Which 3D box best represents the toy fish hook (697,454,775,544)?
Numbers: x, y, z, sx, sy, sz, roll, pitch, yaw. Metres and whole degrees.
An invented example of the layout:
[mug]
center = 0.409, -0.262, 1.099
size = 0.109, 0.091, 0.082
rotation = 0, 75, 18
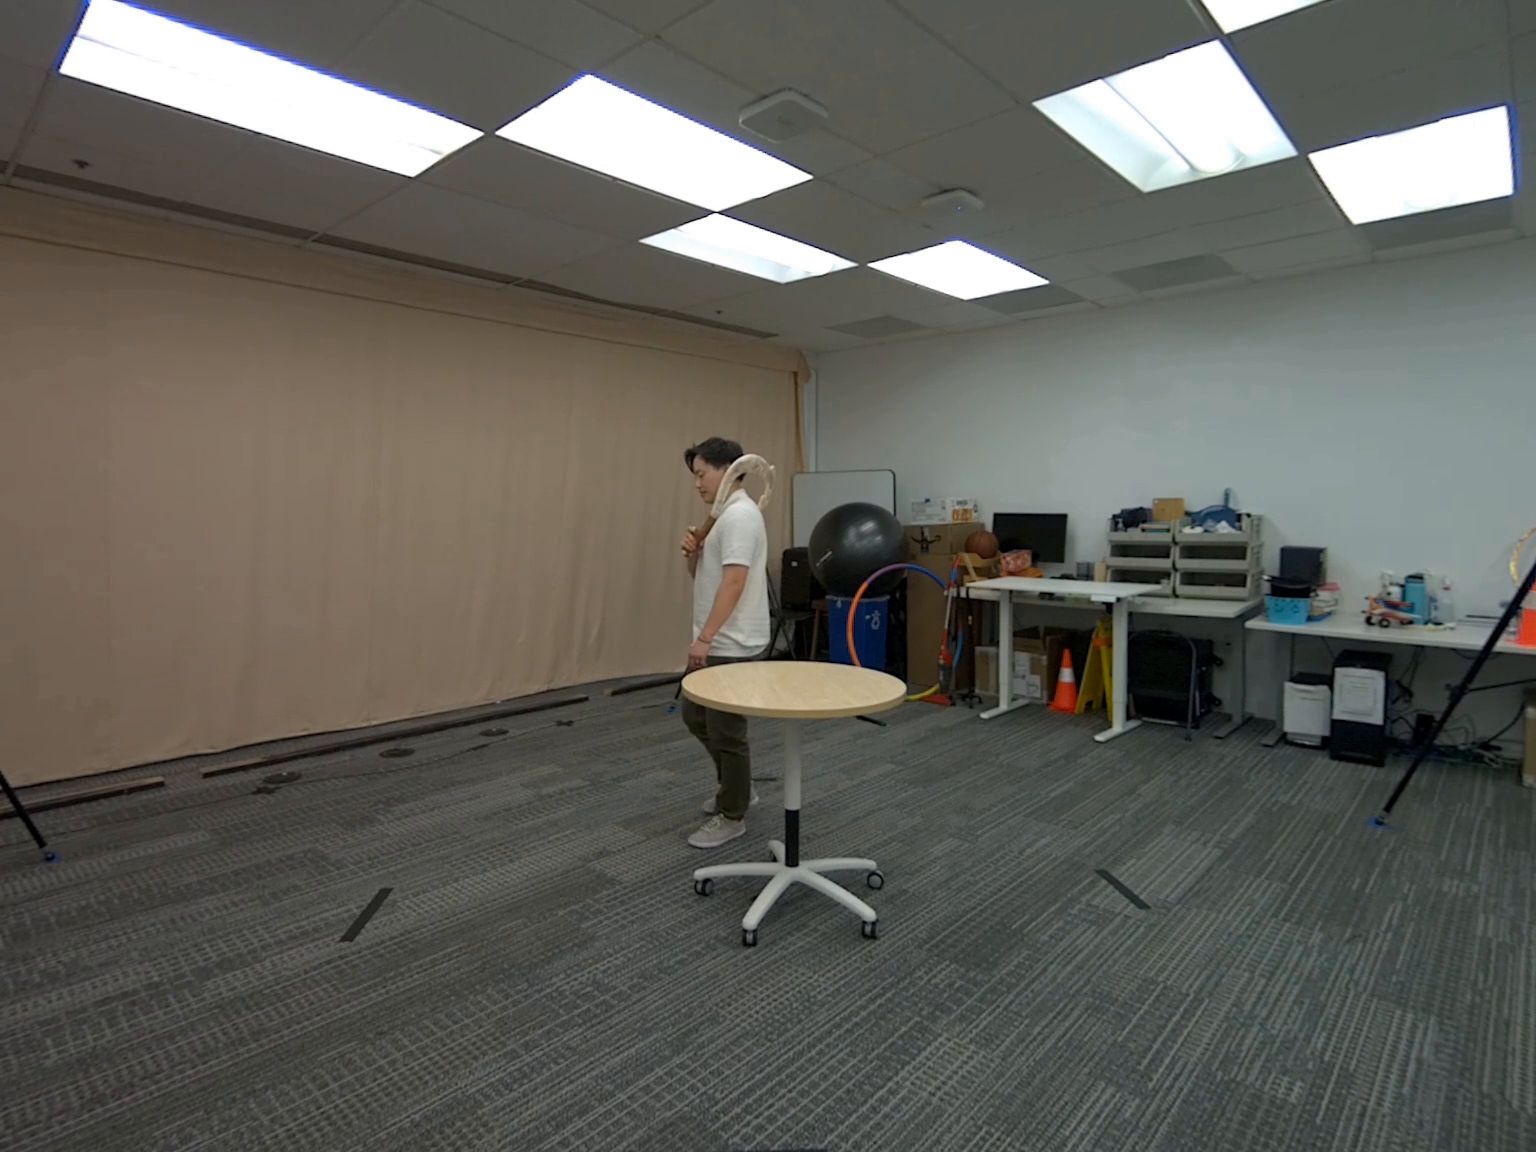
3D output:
[toy fish hook]
center = -0.153, -0.259, 3.451
size = 0.220, 0.507, 0.049
rotation = 33, 8, -17
